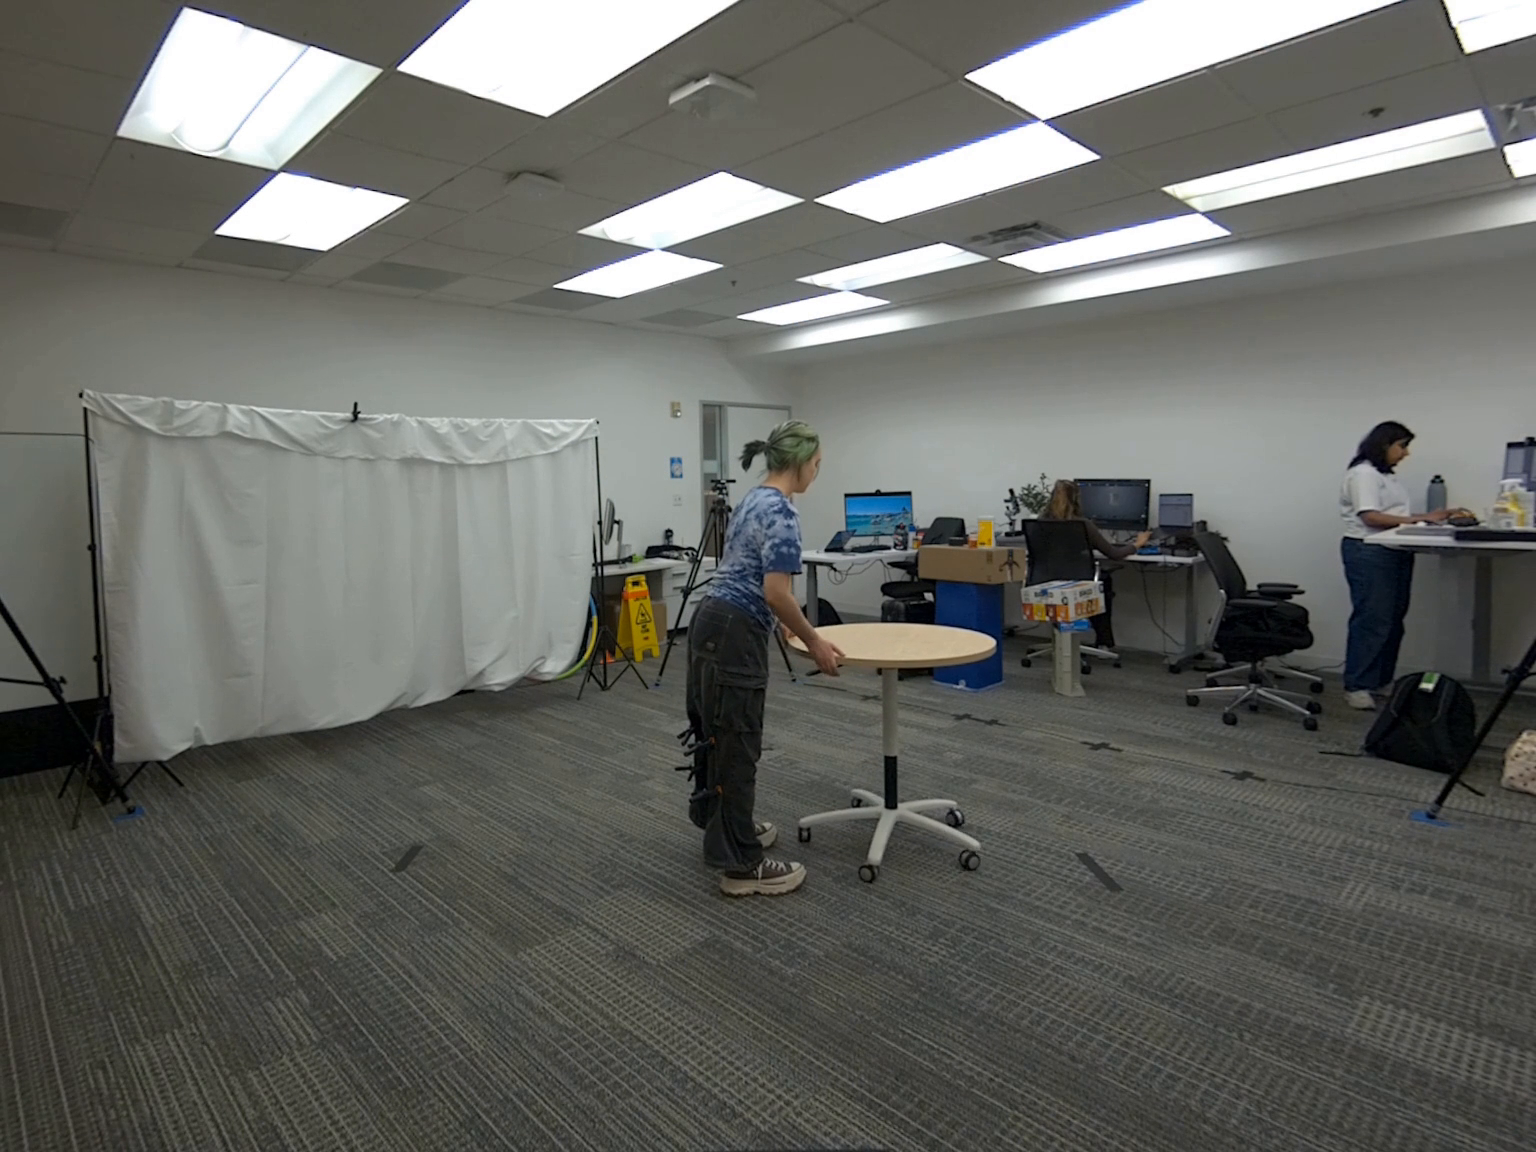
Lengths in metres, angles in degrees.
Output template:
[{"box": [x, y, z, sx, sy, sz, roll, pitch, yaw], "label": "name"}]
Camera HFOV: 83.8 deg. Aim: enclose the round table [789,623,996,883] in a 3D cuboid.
[{"box": [0.459, 0.634, 3.238, 0.763, 0.791, 0.768, -1, 5, -2], "label": "round table"}]
